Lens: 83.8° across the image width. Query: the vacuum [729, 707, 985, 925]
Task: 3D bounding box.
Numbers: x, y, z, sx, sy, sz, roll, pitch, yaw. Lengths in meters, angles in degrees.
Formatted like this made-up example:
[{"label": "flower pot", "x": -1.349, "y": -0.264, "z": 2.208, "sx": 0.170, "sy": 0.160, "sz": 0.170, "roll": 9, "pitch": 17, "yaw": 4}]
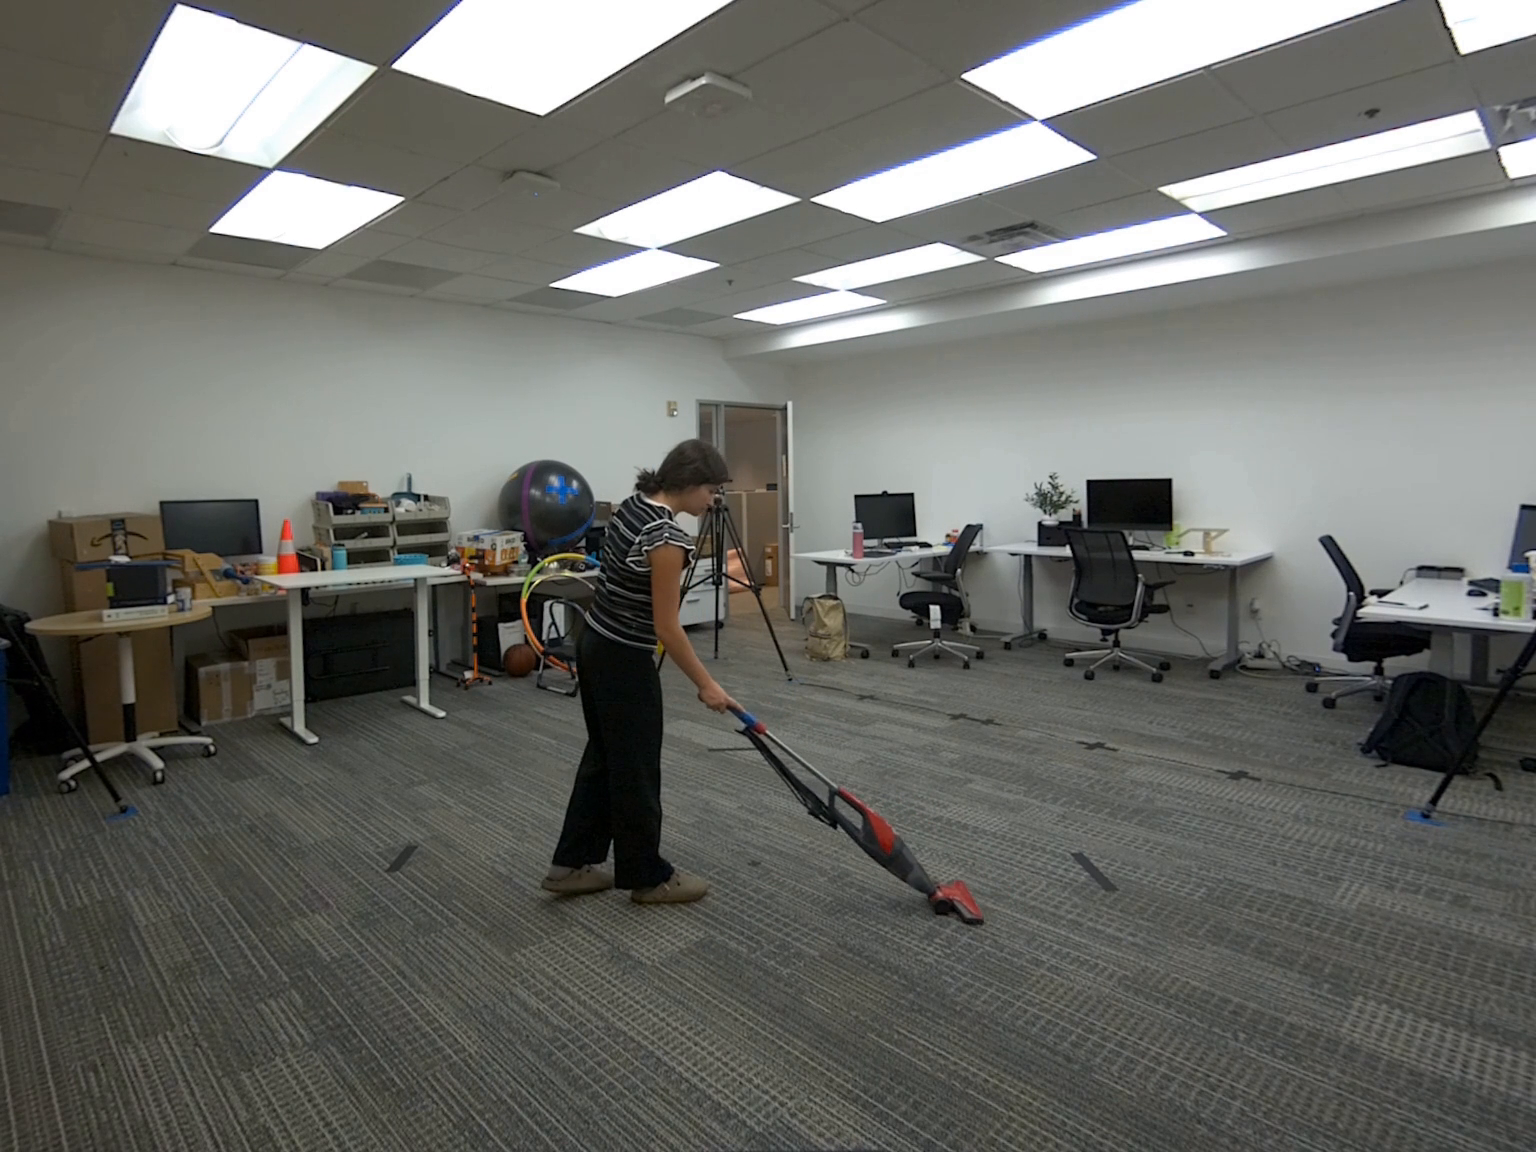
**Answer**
[{"label": "vacuum", "x": 0.194, "y": 0.718, "z": 2.771, "sx": 1.048, "sy": 0.144, "sz": 0.253, "roll": 39, "pitch": 0, "yaw": -1}]
